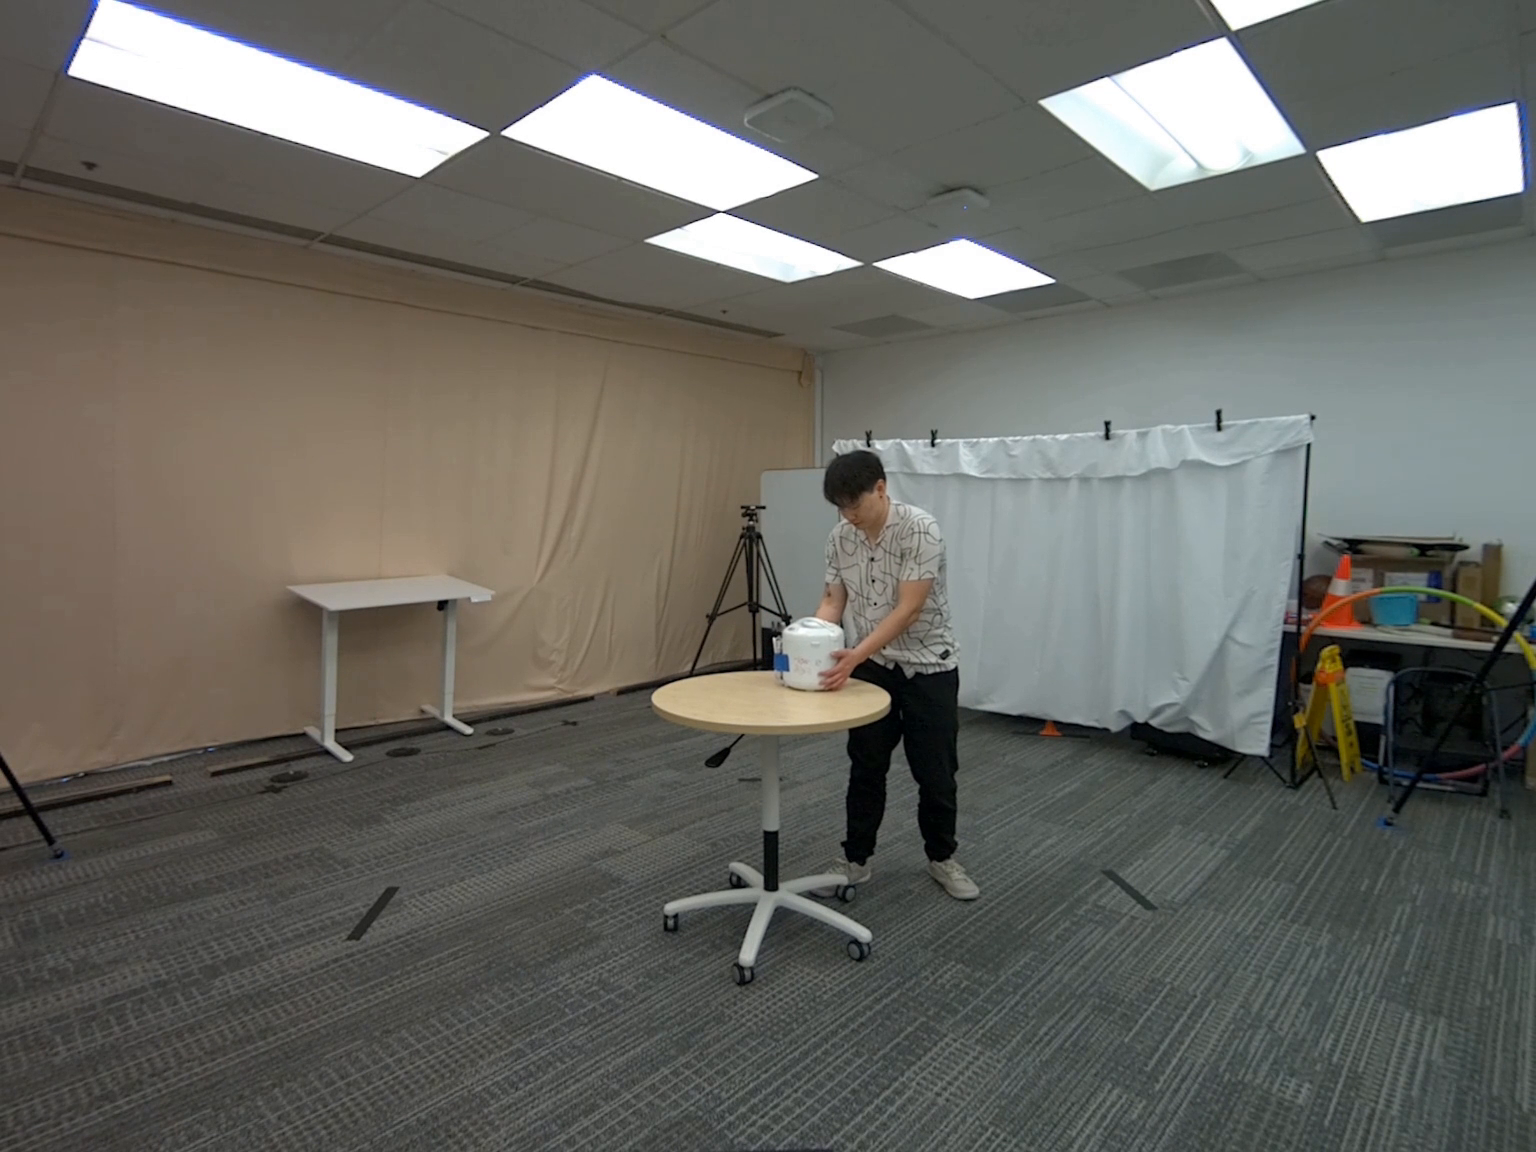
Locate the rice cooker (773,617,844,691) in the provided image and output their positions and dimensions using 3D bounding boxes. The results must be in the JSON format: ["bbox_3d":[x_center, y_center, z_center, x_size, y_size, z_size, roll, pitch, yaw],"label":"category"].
[{"bbox_3d":[0.152,0.261,2.830,0.211,0.232,0.228,-4,5,-39],"label":"rice cooker"}]
